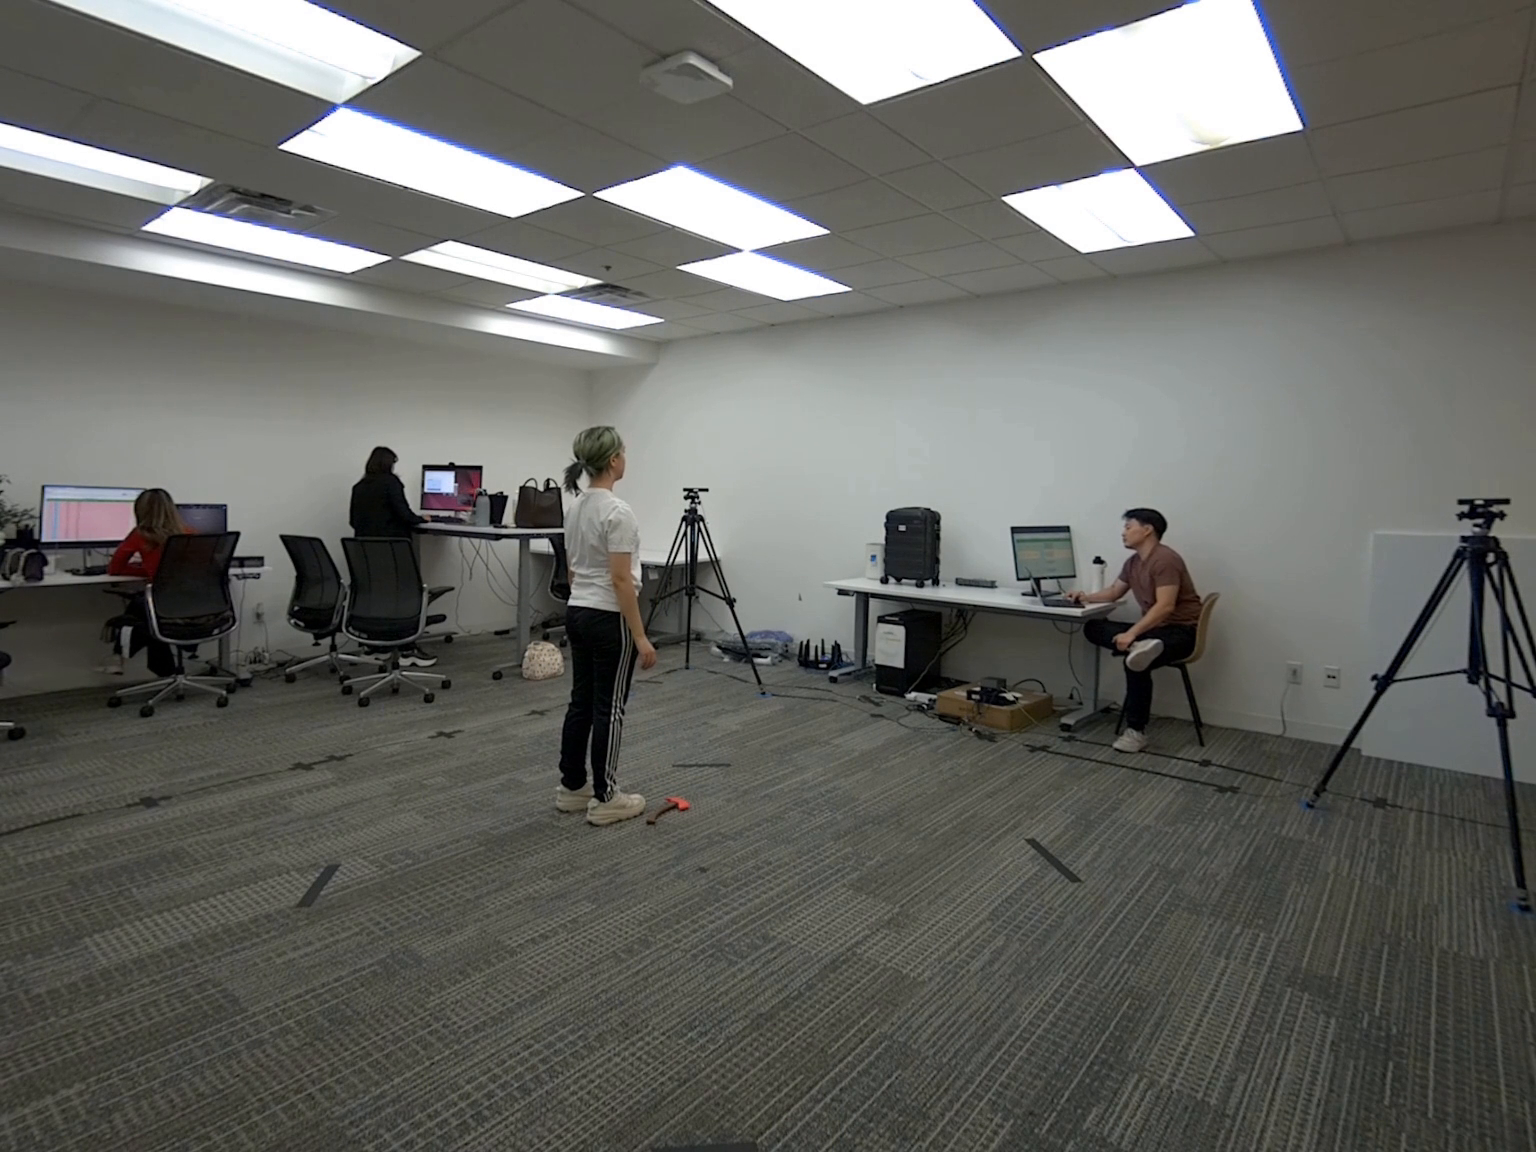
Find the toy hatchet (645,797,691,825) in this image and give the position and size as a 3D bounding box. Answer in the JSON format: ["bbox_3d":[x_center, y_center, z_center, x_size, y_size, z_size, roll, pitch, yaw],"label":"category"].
[{"bbox_3d":[-0.431,1.002,3.626,0.133,0.029,0.268,4,9,10],"label":"toy hatchet"}]
